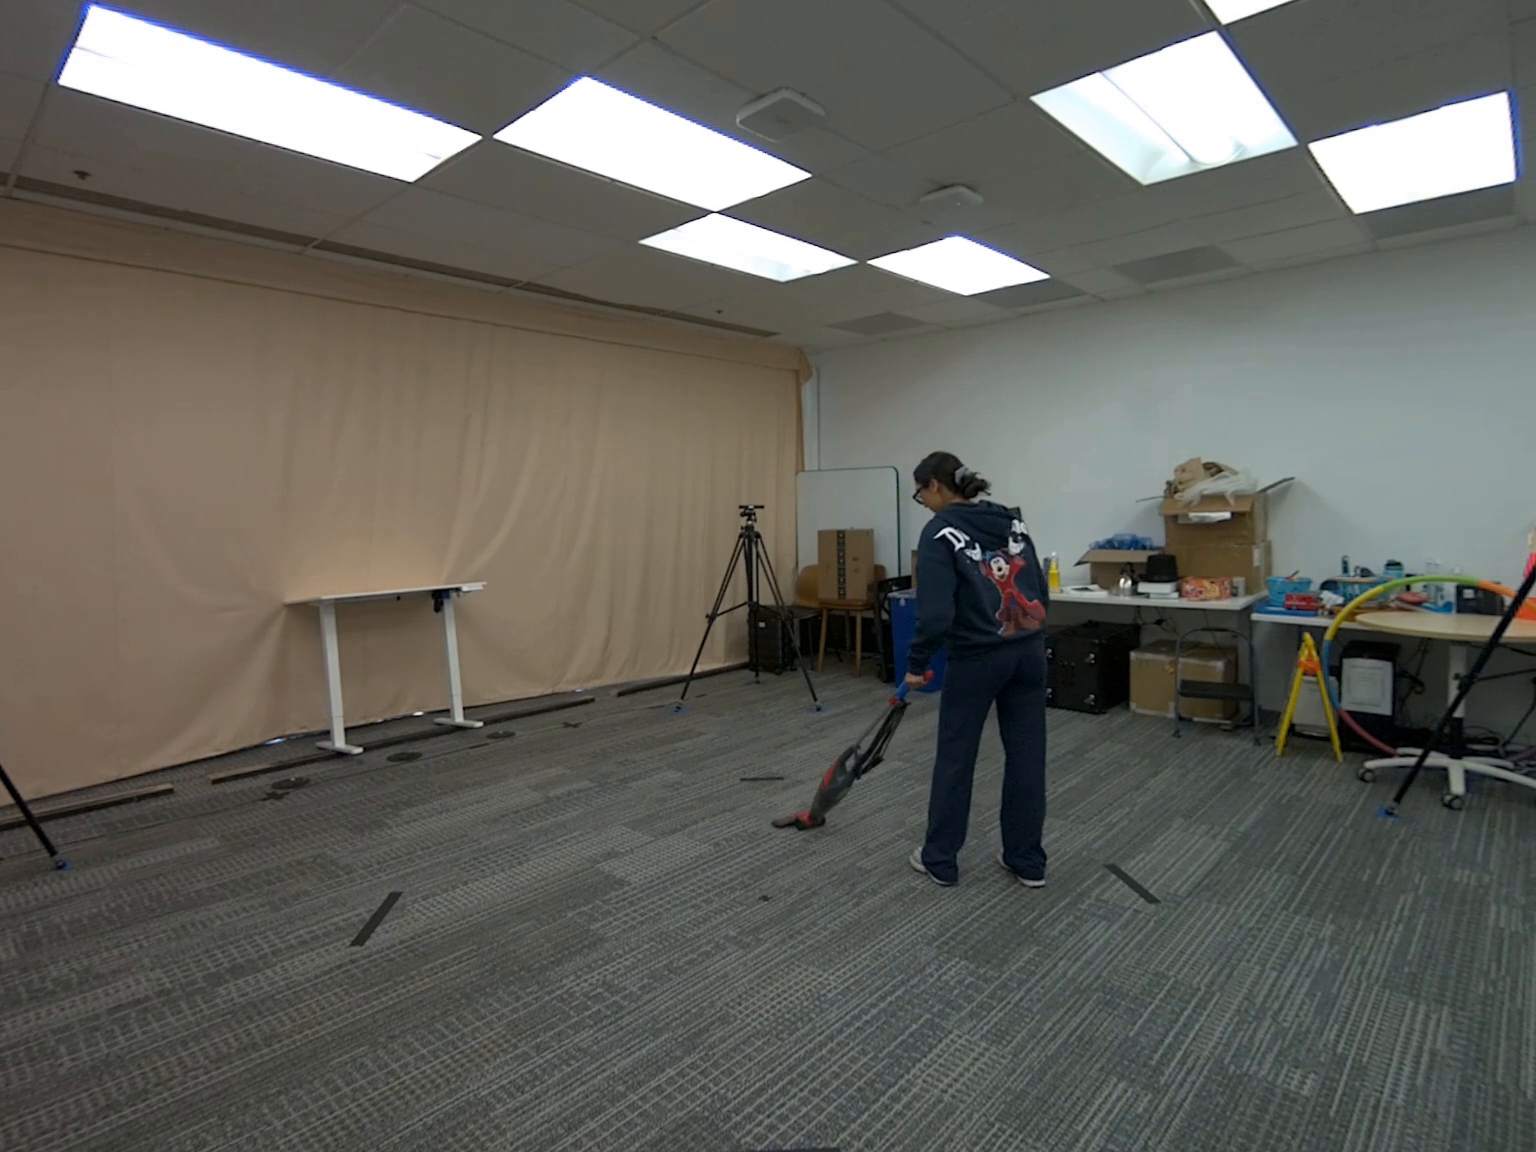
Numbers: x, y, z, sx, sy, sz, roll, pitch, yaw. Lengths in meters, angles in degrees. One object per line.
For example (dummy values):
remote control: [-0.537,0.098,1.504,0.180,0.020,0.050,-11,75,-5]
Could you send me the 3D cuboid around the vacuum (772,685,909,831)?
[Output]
vacuum: [0.358,0.720,3.369,0.245,0.148,1.048,-10,-37,-40]
